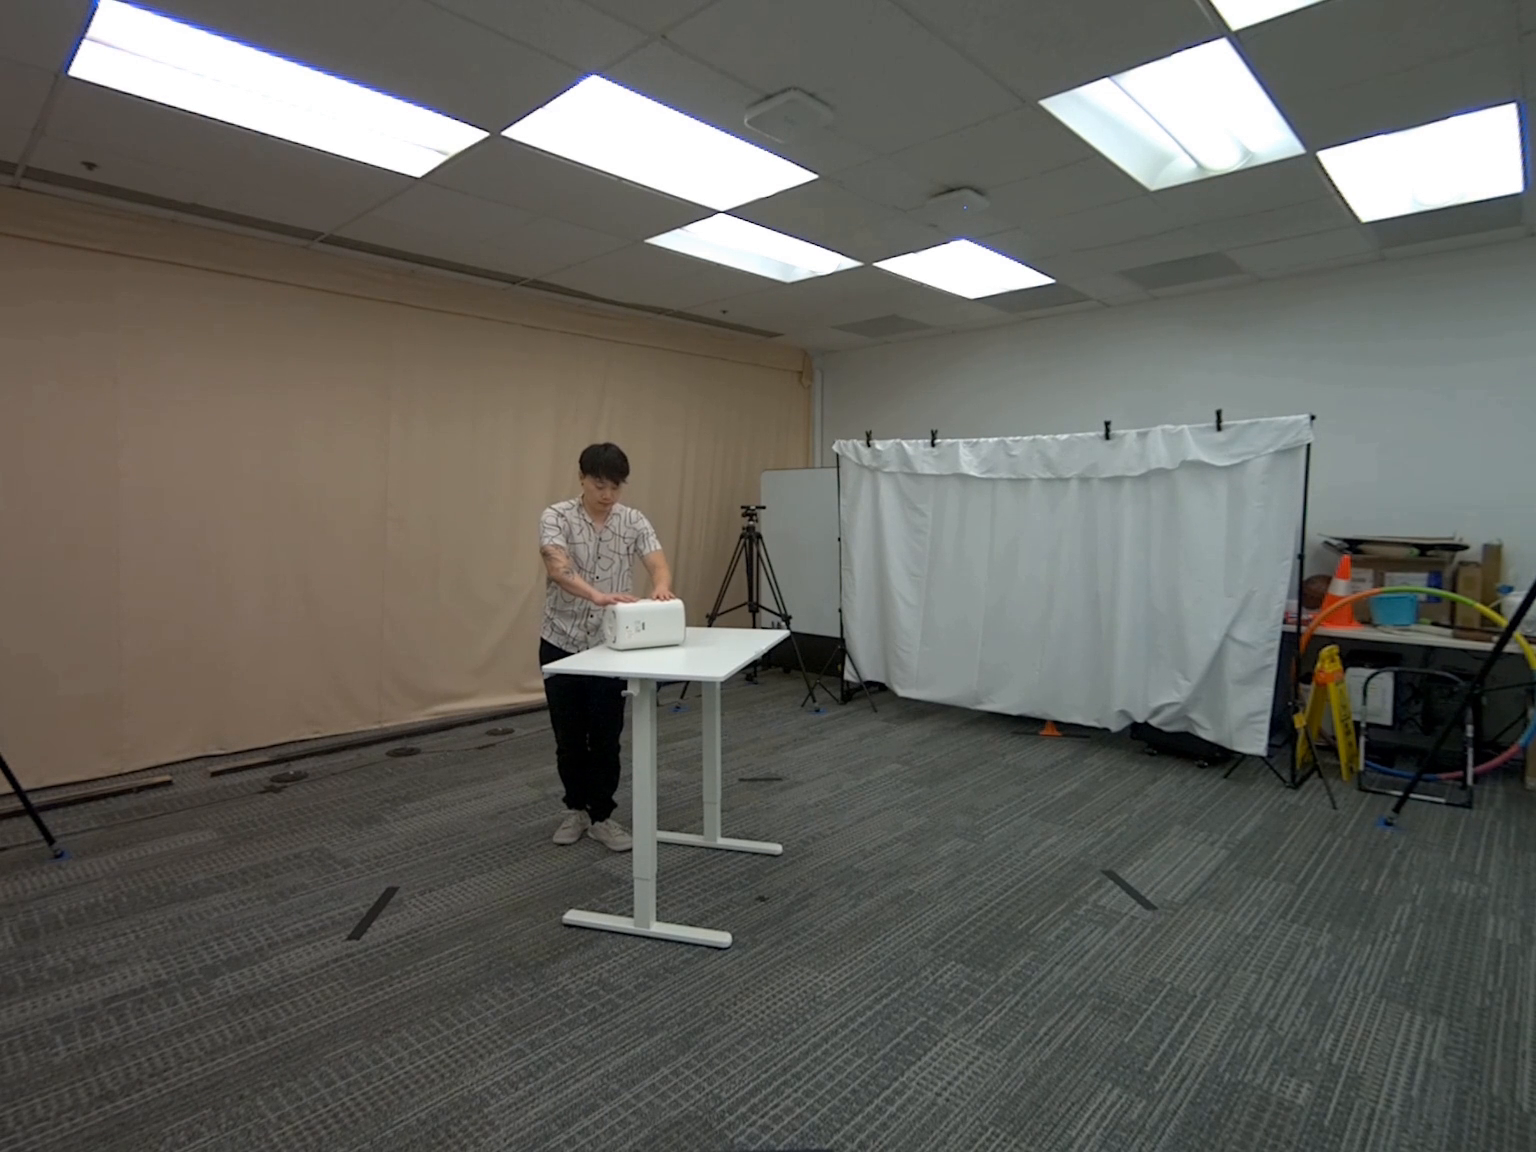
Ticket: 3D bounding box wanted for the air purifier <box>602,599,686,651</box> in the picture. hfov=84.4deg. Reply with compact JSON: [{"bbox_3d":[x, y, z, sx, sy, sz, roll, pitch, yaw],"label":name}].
[{"bbox_3d":[-0.452,0.171,3.061,0.258,0.171,0.176,-3,4,-30],"label":"air purifier"}]
